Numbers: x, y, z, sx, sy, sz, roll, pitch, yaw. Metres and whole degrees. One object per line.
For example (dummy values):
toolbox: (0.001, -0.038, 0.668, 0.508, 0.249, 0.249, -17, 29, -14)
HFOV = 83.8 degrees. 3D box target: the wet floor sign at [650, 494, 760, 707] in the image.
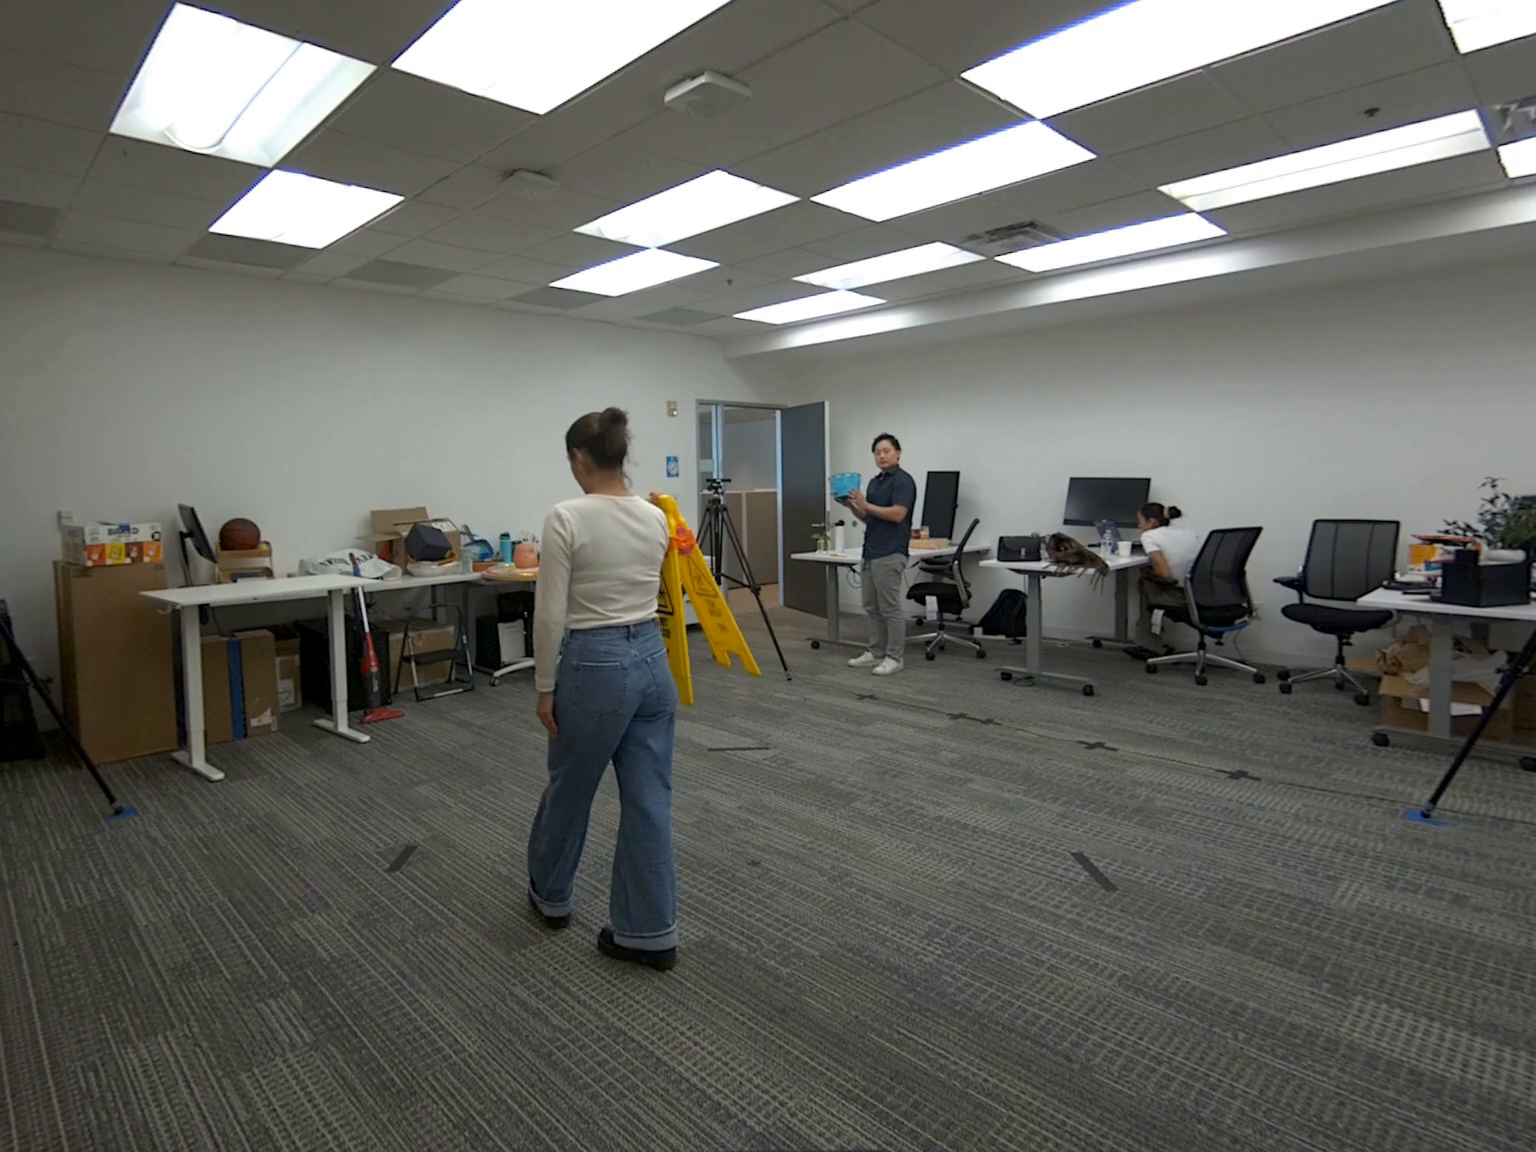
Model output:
wet floor sign: (-0.280, 0.052, 2.791, 0.285, 0.640, 0.289, -18, 9, -29)
